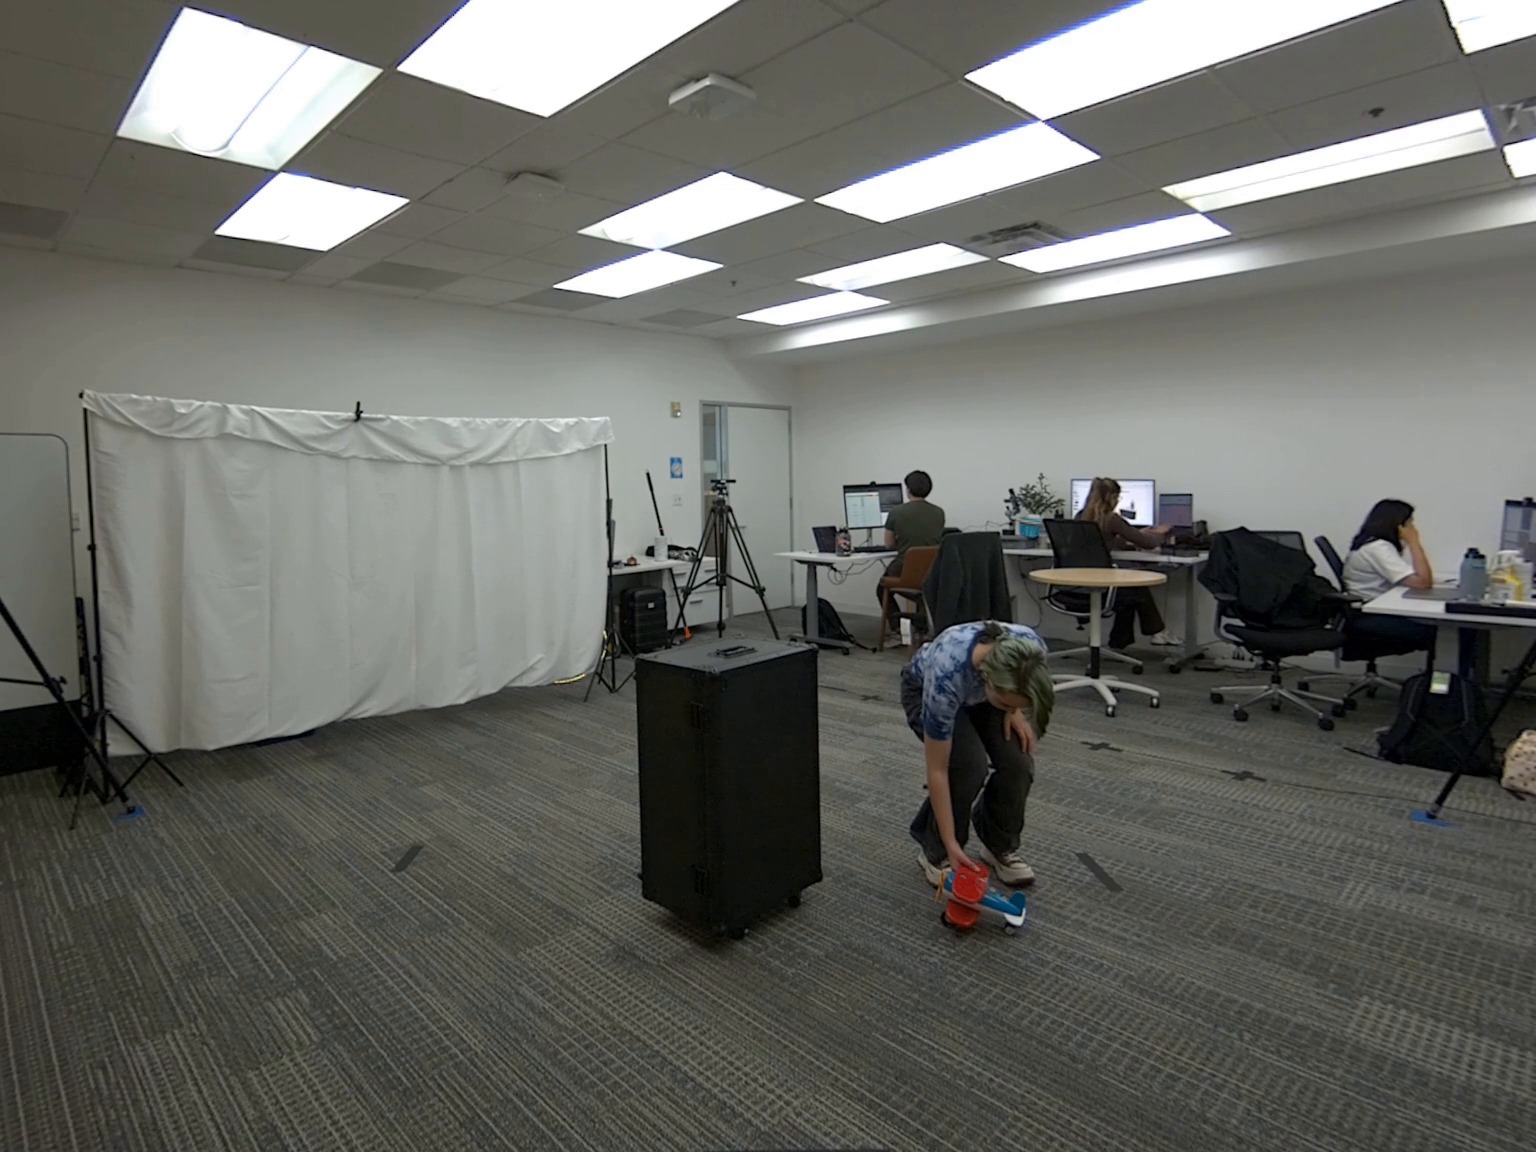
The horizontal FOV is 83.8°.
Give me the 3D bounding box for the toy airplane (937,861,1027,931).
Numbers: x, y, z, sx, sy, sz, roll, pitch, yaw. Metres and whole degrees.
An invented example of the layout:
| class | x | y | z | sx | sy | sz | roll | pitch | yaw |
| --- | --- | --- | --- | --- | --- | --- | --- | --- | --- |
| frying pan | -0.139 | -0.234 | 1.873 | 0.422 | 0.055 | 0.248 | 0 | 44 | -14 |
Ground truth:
| class | x | y | z | sx | sy | sz | roll | pitch | yaw |
| --- | --- | --- | --- | --- | --- | --- | --- | --- | --- |
| toy airplane | 0.661 | 1.010 | 2.657 | 0.259 | 0.156 | 0.252 | -2 | 2 | -2 |
